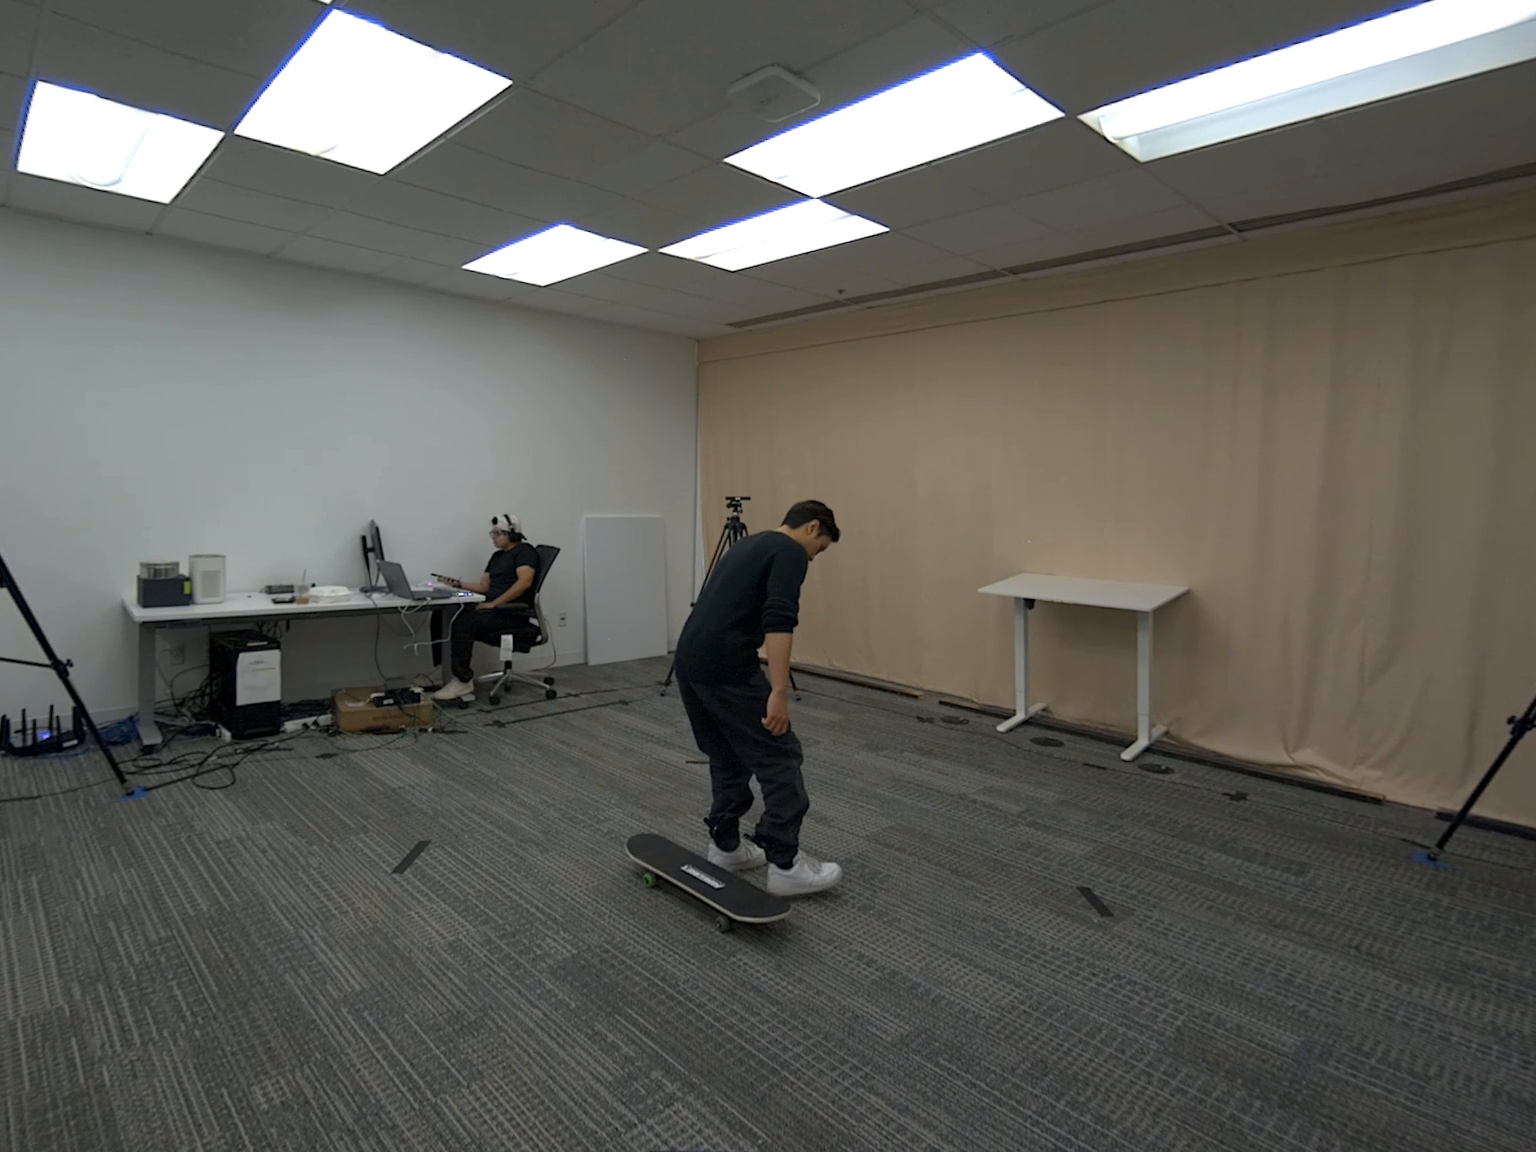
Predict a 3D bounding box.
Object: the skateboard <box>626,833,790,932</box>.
[{"bbox_3d":[-0.234,1.068,2.901,0.189,0.110,0.806,-3,7,-42],"label":"skateboard"}]
